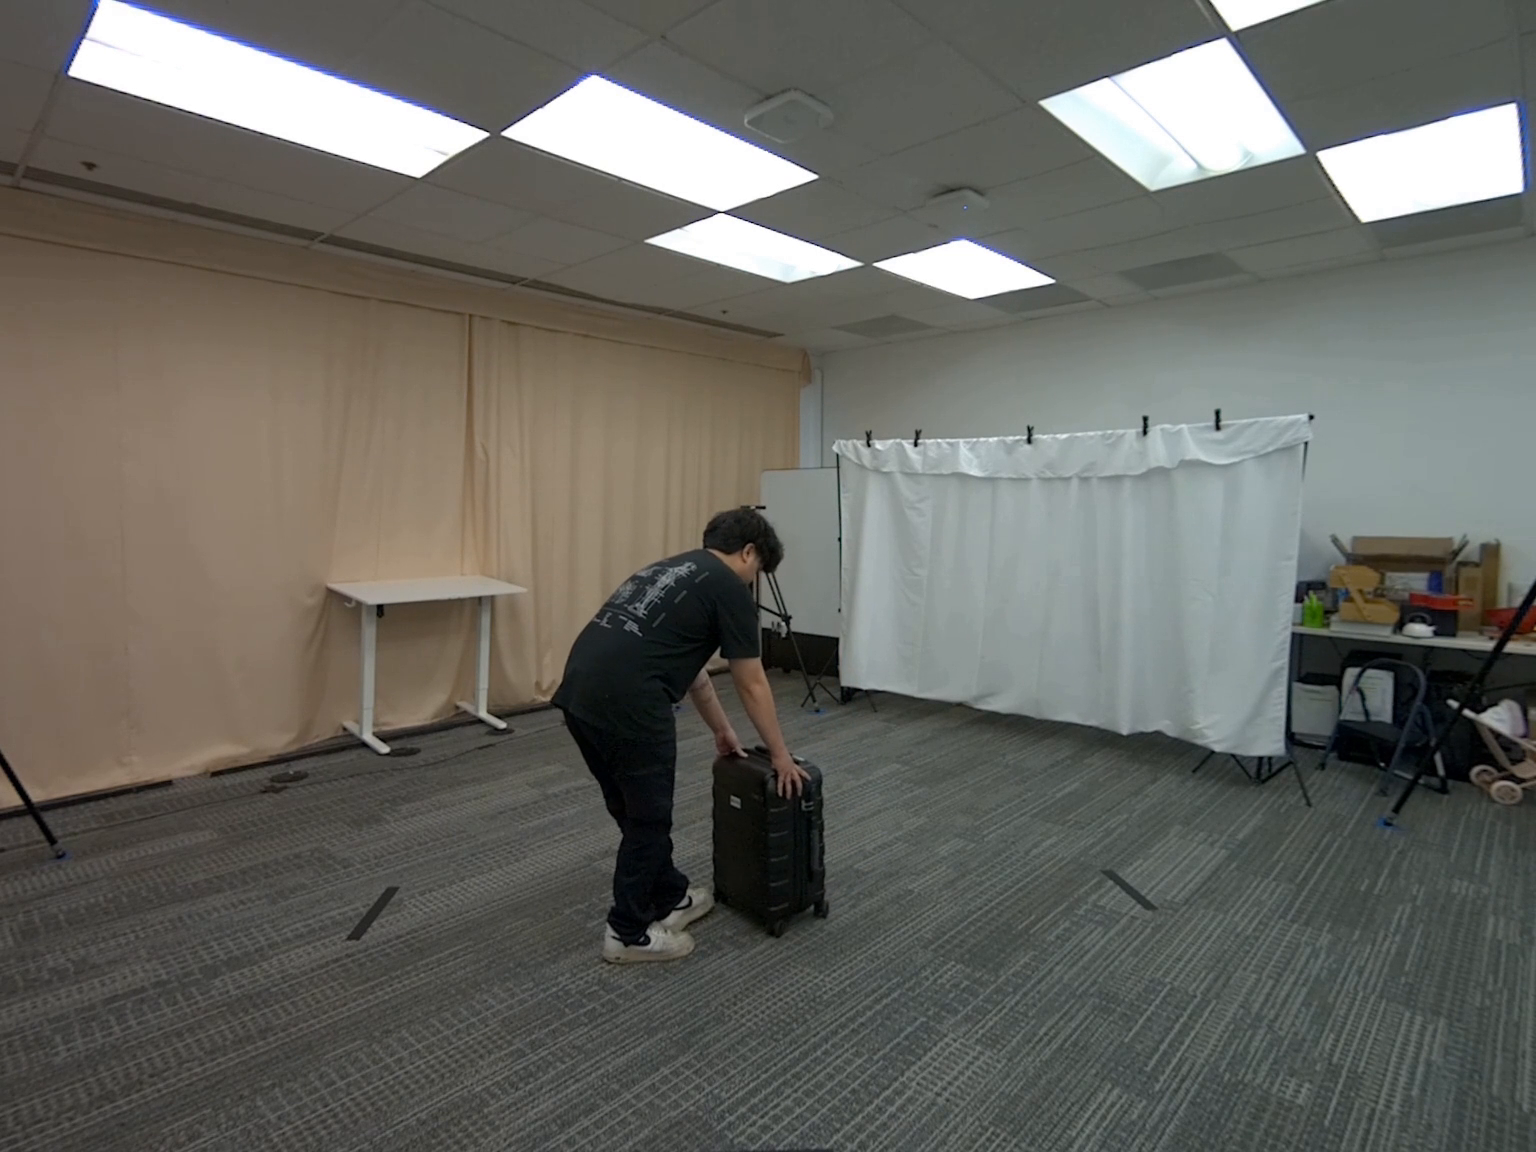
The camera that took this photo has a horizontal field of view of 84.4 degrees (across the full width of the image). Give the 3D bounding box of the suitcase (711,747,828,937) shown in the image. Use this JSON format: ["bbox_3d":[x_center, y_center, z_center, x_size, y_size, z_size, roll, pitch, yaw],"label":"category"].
[{"bbox_3d":[0.007,0.884,2.875,0.241,0.547,0.388,-5,7,-39],"label":"suitcase"}]
